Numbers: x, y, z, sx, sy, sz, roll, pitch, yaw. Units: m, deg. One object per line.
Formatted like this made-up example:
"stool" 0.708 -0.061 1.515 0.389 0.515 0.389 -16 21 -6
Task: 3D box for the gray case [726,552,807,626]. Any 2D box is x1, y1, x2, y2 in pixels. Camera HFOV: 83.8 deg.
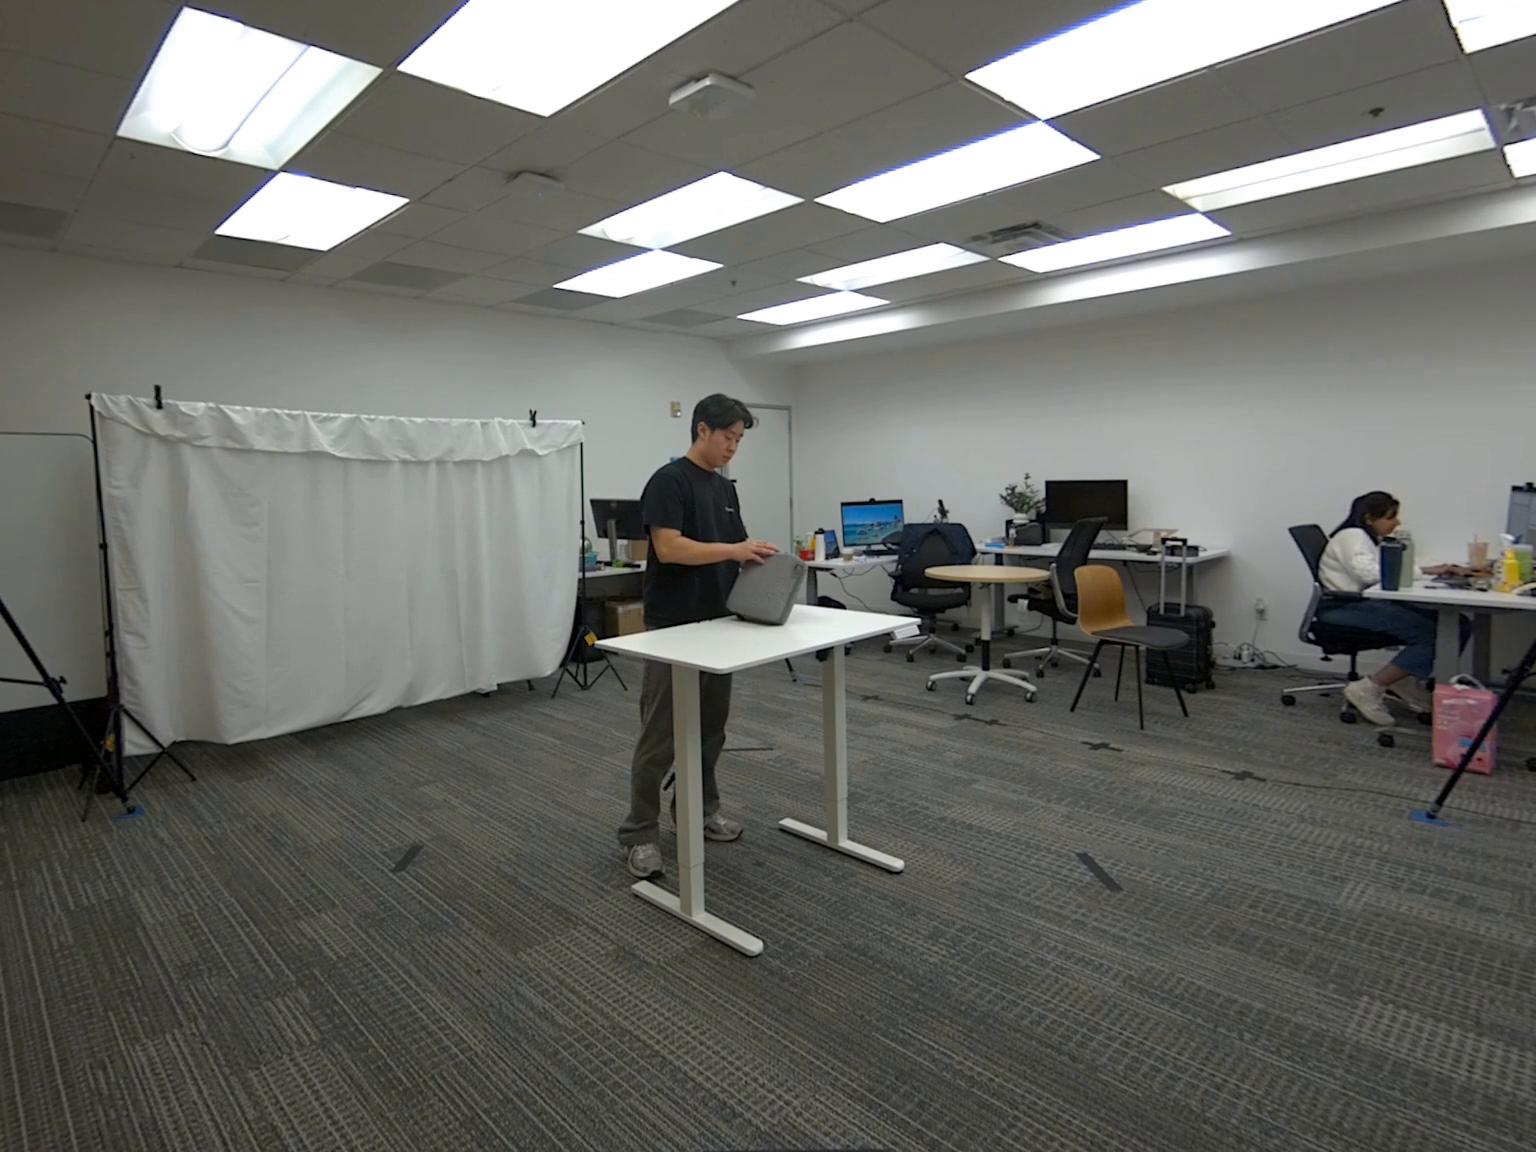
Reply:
"gray case" 0.003 0.039 3.087 0.101 0.262 0.264 28 -17 -32
